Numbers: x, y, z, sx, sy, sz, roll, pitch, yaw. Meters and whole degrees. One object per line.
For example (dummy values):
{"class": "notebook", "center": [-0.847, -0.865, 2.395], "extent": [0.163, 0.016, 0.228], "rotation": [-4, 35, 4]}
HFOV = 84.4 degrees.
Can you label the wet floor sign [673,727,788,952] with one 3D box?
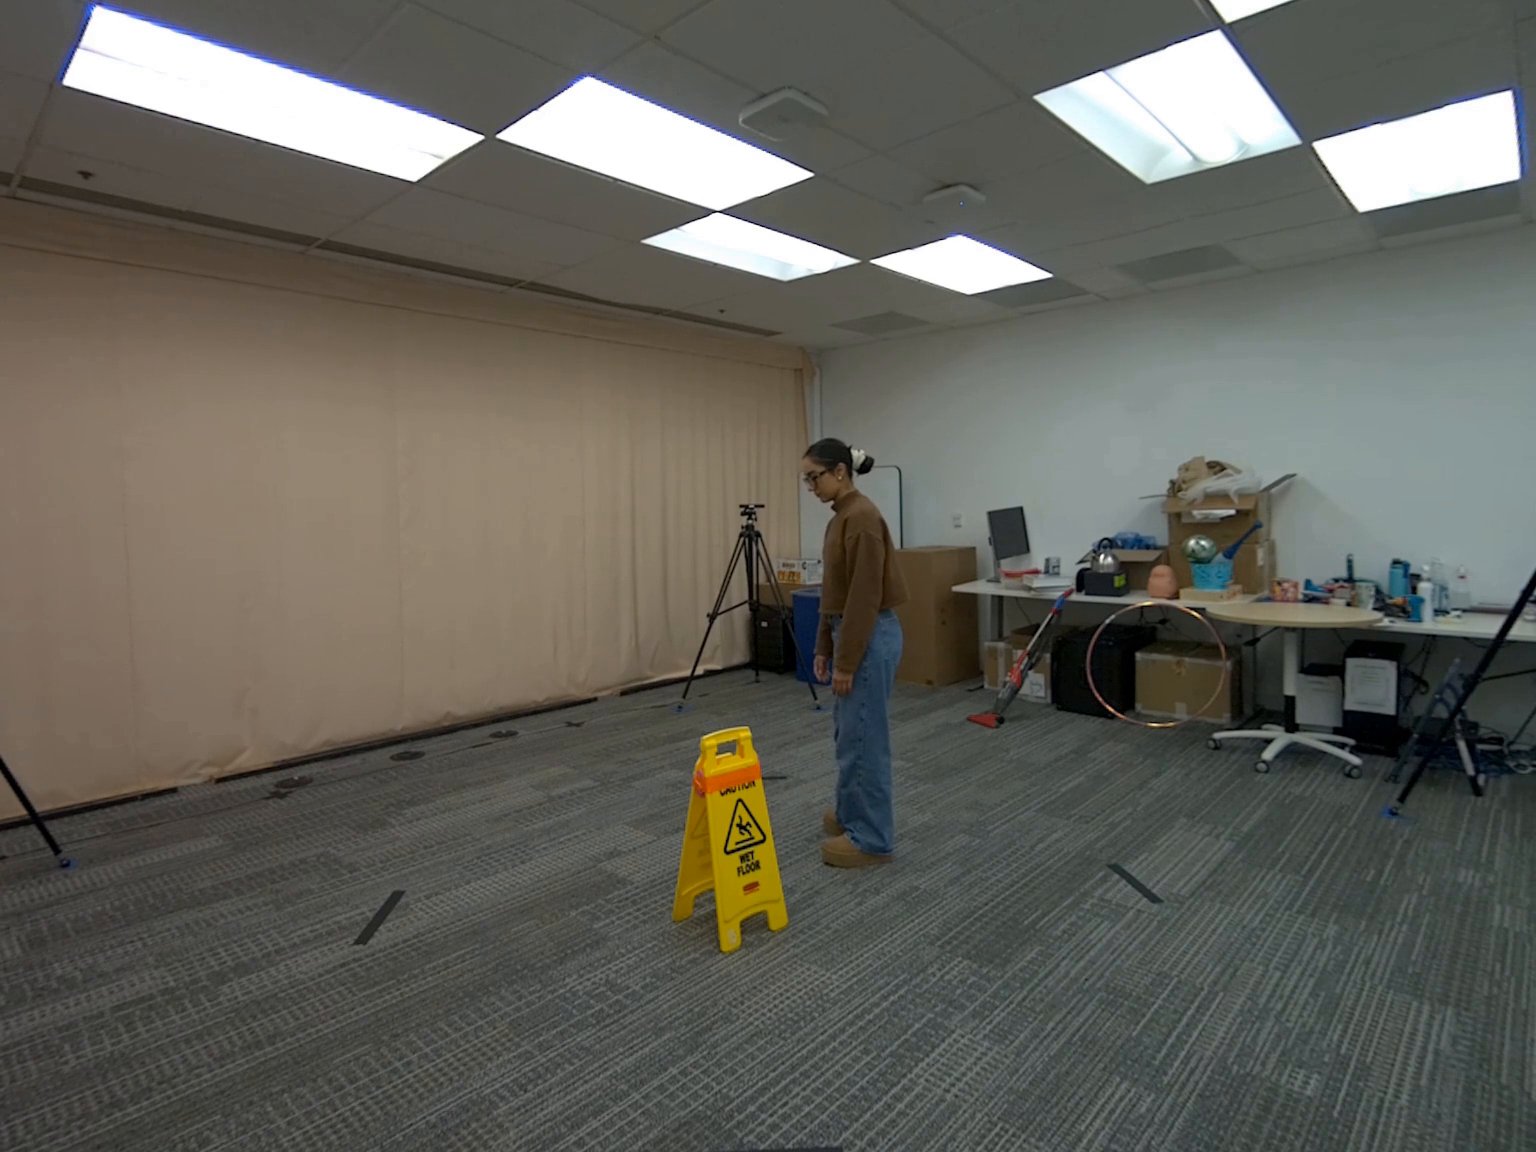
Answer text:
{"class": "wet floor sign", "center": [-0.135, 0.835, 2.792], "extent": [0.274, 0.645, 0.299], "rotation": [-4, 4, -41]}
